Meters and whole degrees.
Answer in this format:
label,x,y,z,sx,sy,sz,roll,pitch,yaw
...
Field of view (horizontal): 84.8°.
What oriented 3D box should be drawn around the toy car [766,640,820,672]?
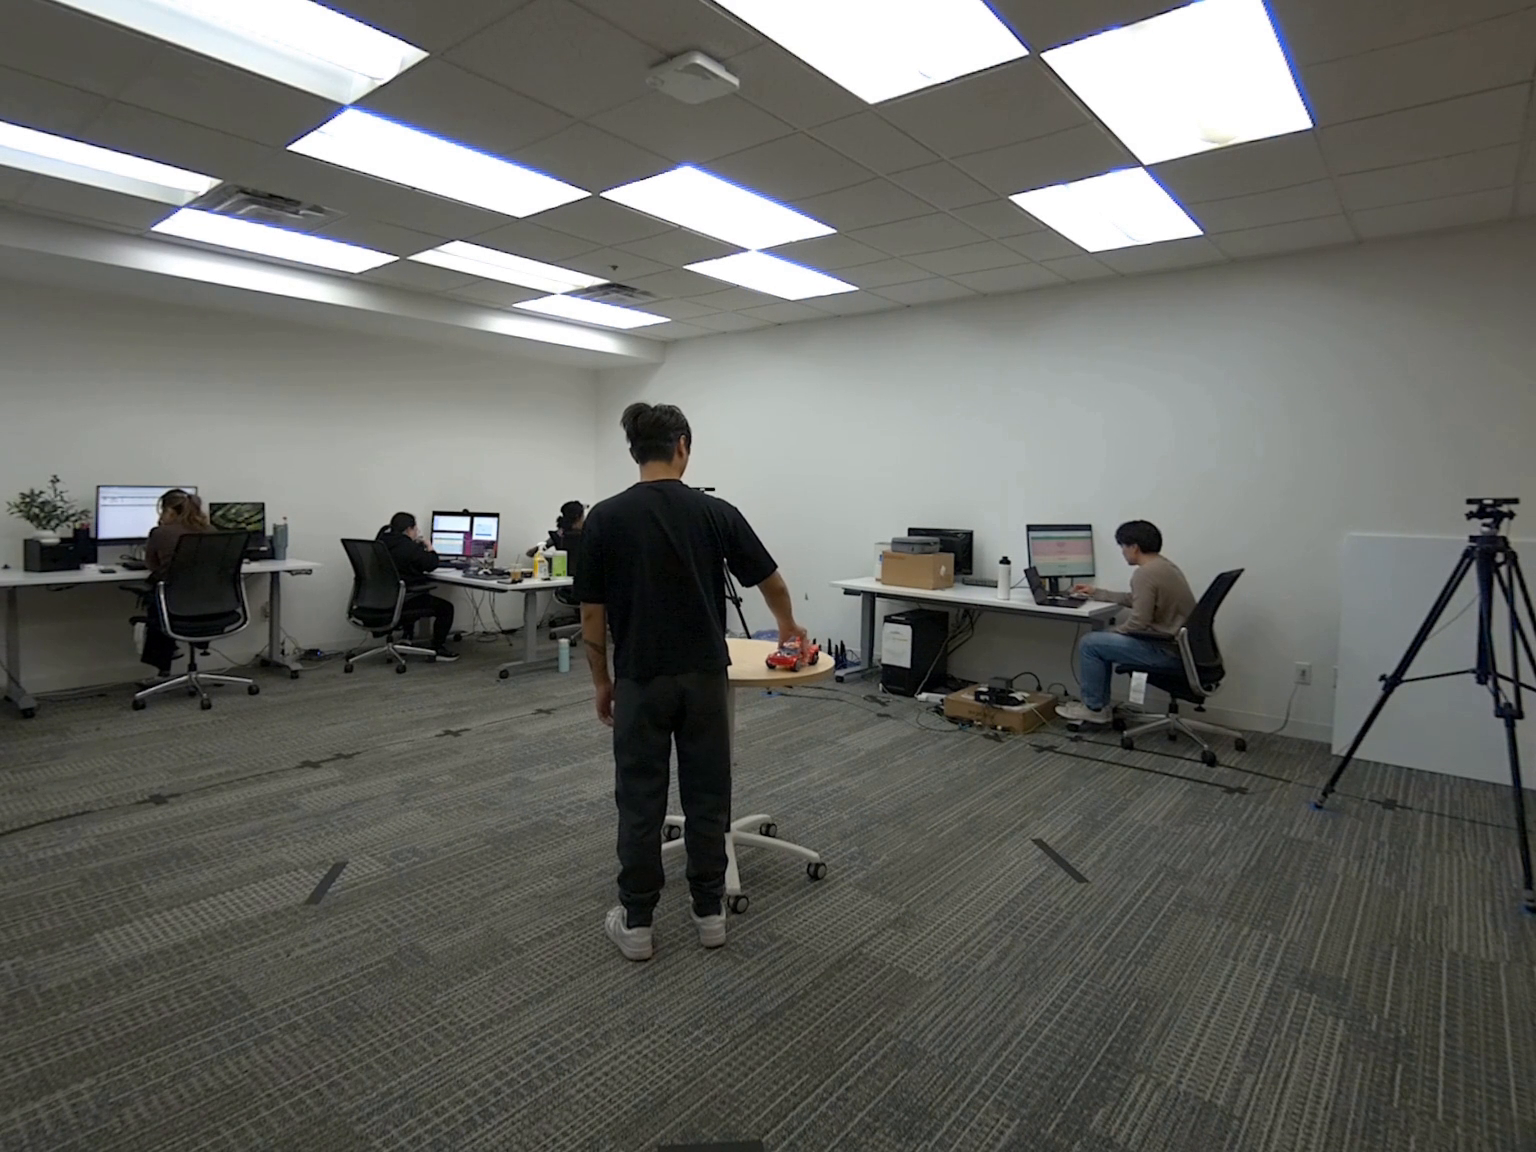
label,x,y,z,sx,sy,sz,roll,pitch,yaw
toy car,0.089,0.276,2.953,0.134,0.082,0.251,3,17,27
